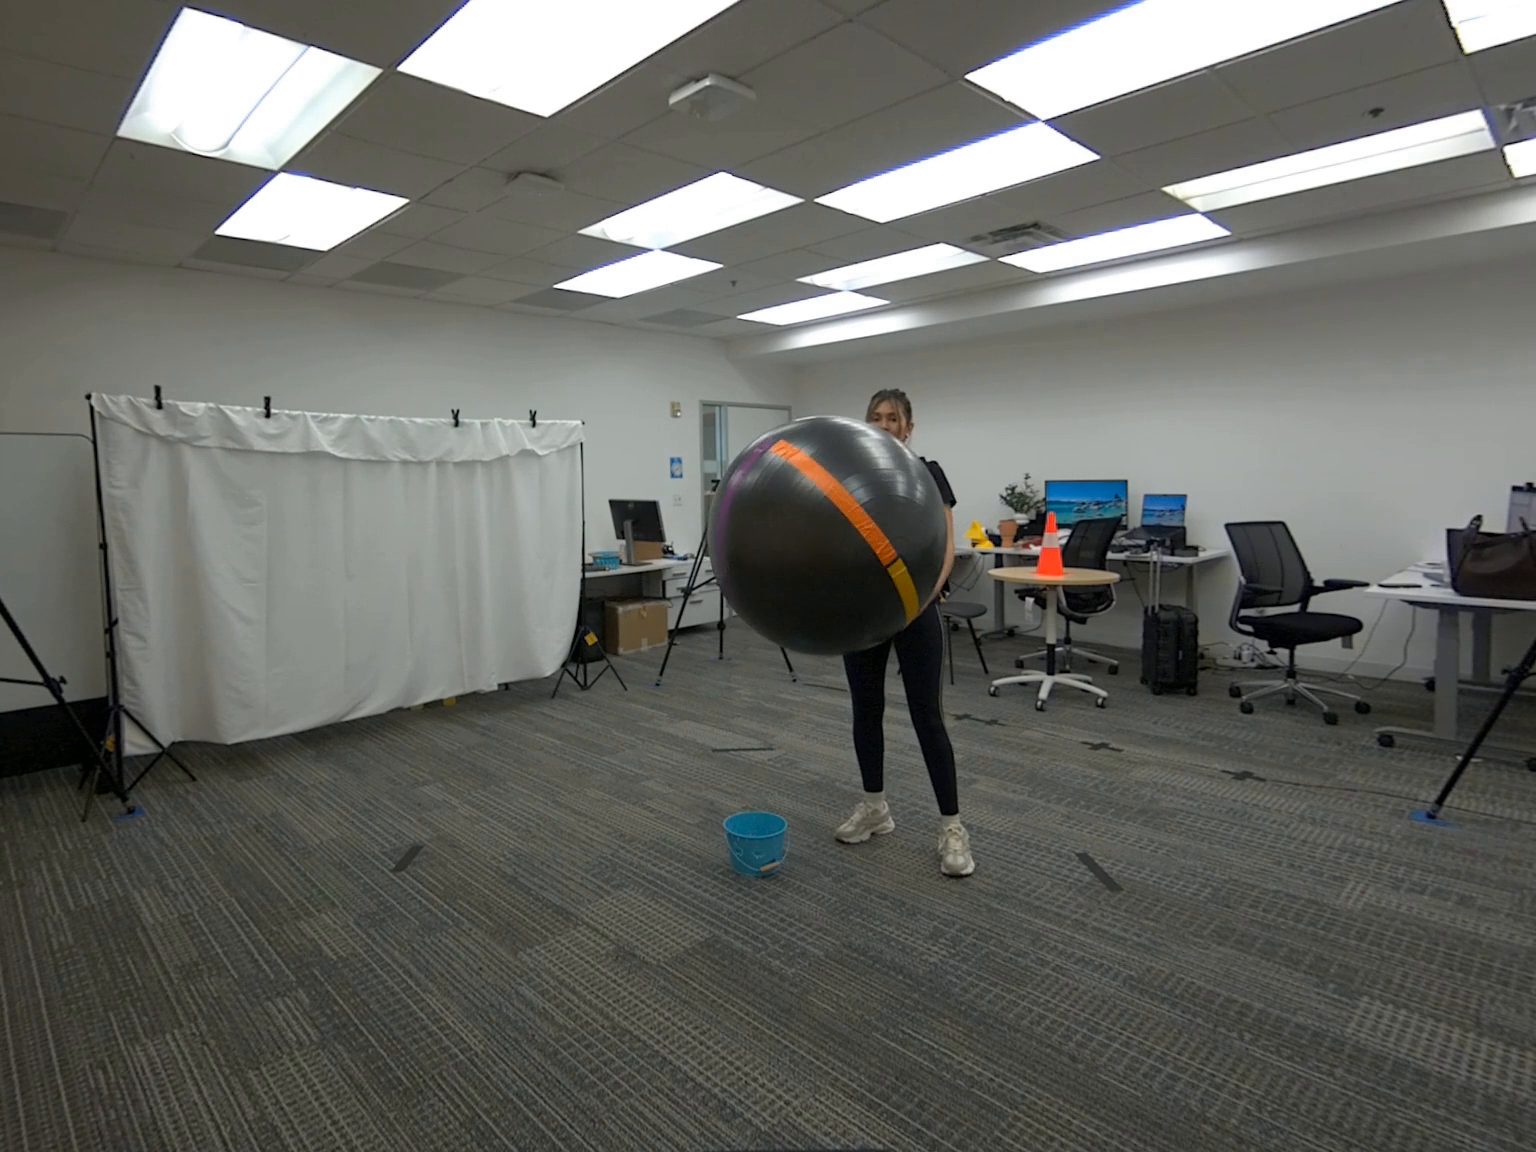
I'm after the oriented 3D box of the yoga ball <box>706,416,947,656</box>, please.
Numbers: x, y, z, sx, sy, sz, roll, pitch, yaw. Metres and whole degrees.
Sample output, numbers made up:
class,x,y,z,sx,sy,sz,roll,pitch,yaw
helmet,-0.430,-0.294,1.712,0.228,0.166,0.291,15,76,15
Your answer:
class,x,y,z,sx,sy,sz,roll,pitch,yaw
yoga ball,0.185,-0.118,2.708,0.757,0.755,0.762,-1,5,-2
